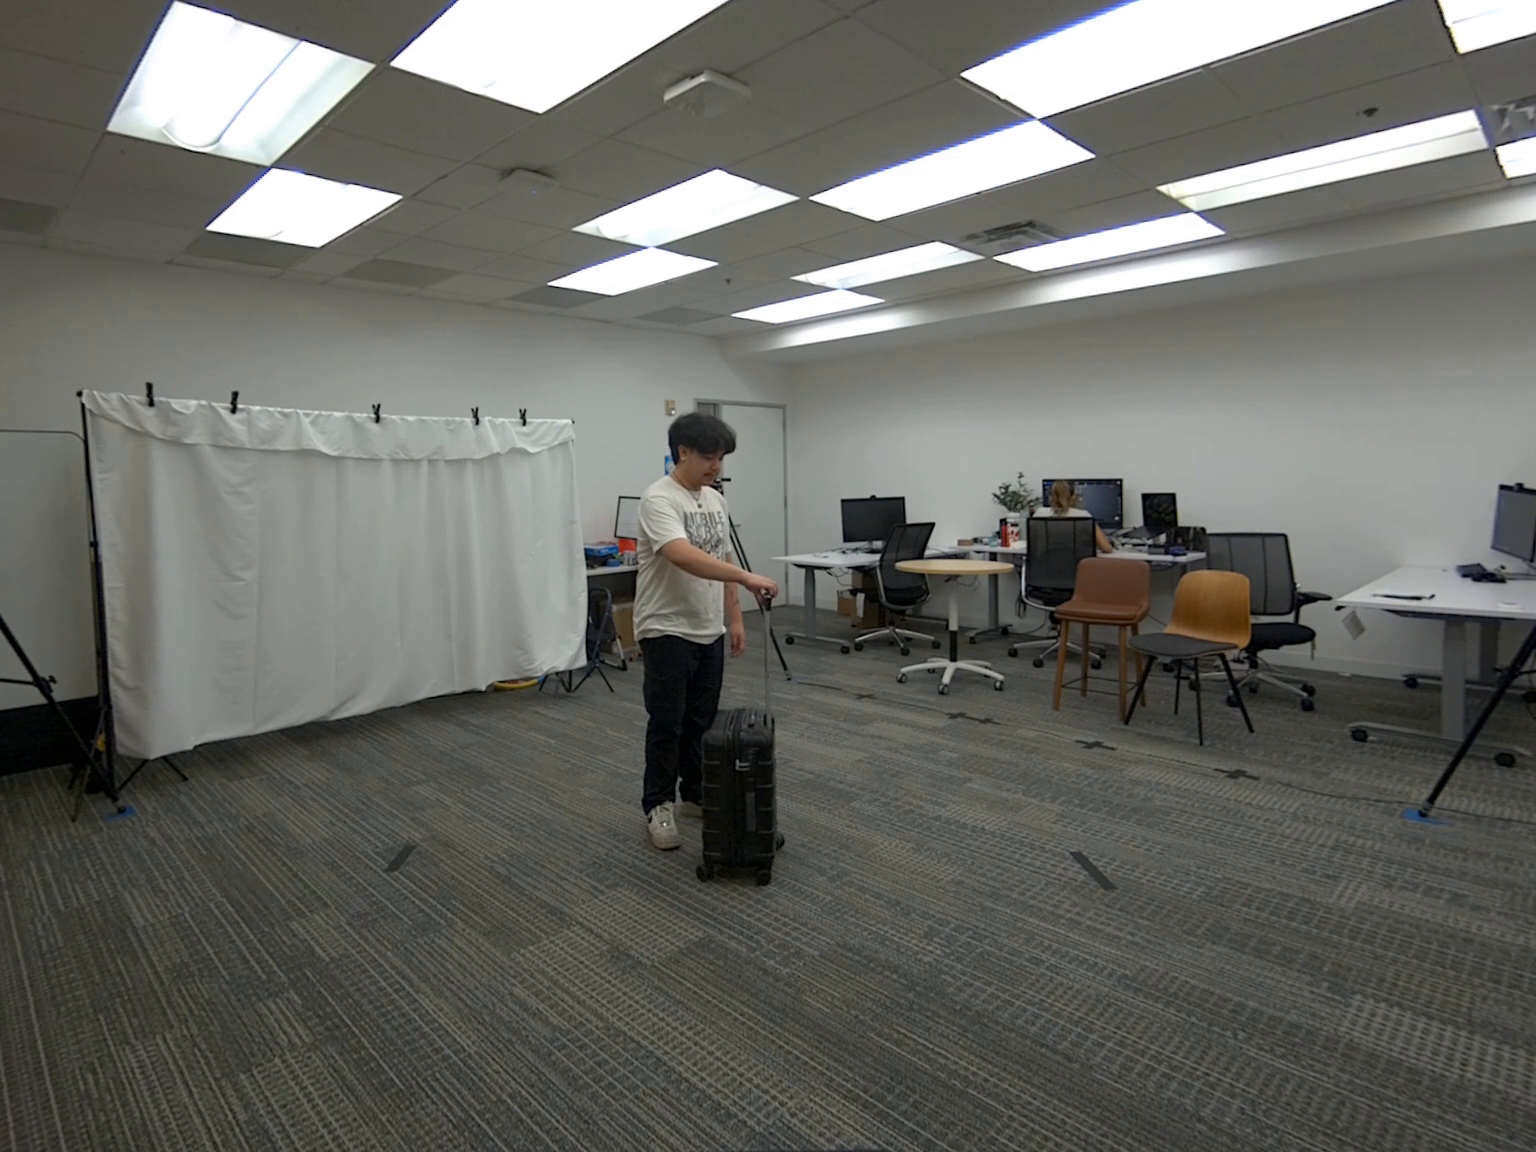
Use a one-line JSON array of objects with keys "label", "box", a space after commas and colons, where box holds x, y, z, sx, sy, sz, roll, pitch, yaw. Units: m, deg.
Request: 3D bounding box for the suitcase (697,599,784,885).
[{"label": "suitcase", "box": [-0.098, 0.573, 3.075, 0.258, 0.976, 0.383, -3, 2, 4]}]
